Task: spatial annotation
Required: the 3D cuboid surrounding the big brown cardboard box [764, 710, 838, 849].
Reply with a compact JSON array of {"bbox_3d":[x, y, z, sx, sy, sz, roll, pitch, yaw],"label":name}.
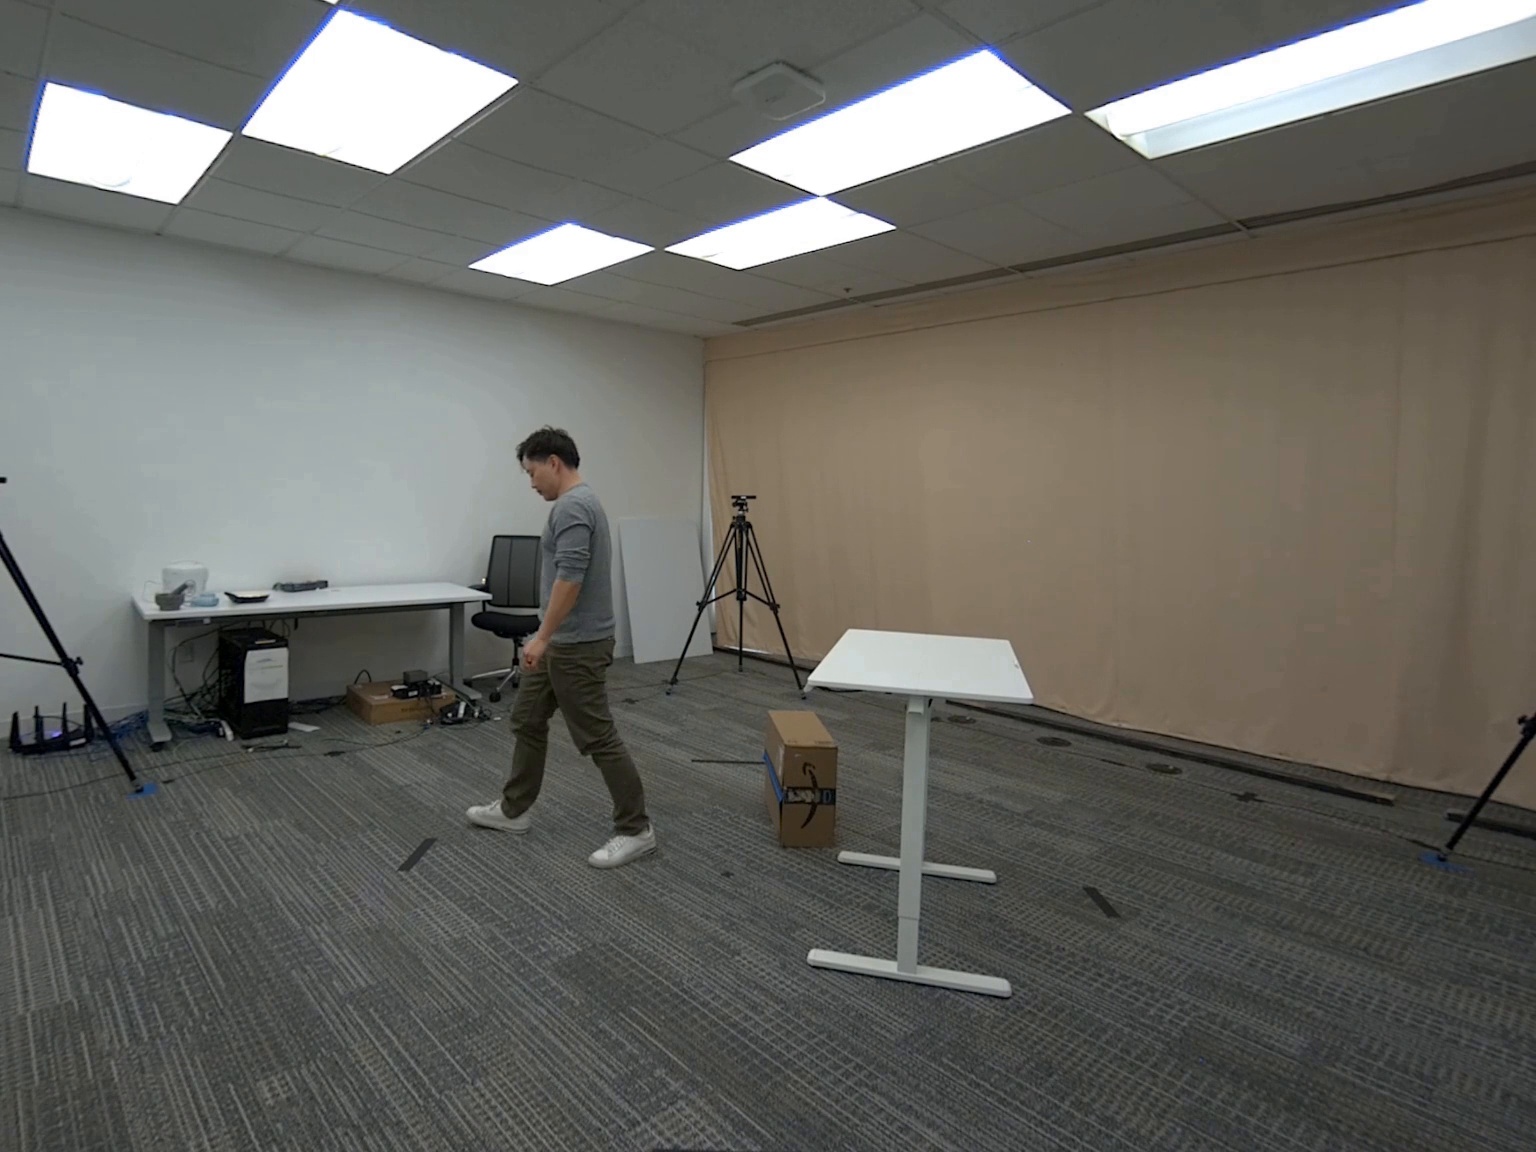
[{"bbox_3d":[0.120,0.853,3.626,0.232,0.416,0.593,2,4,-6],"label":"big brown cardboard box"}]
